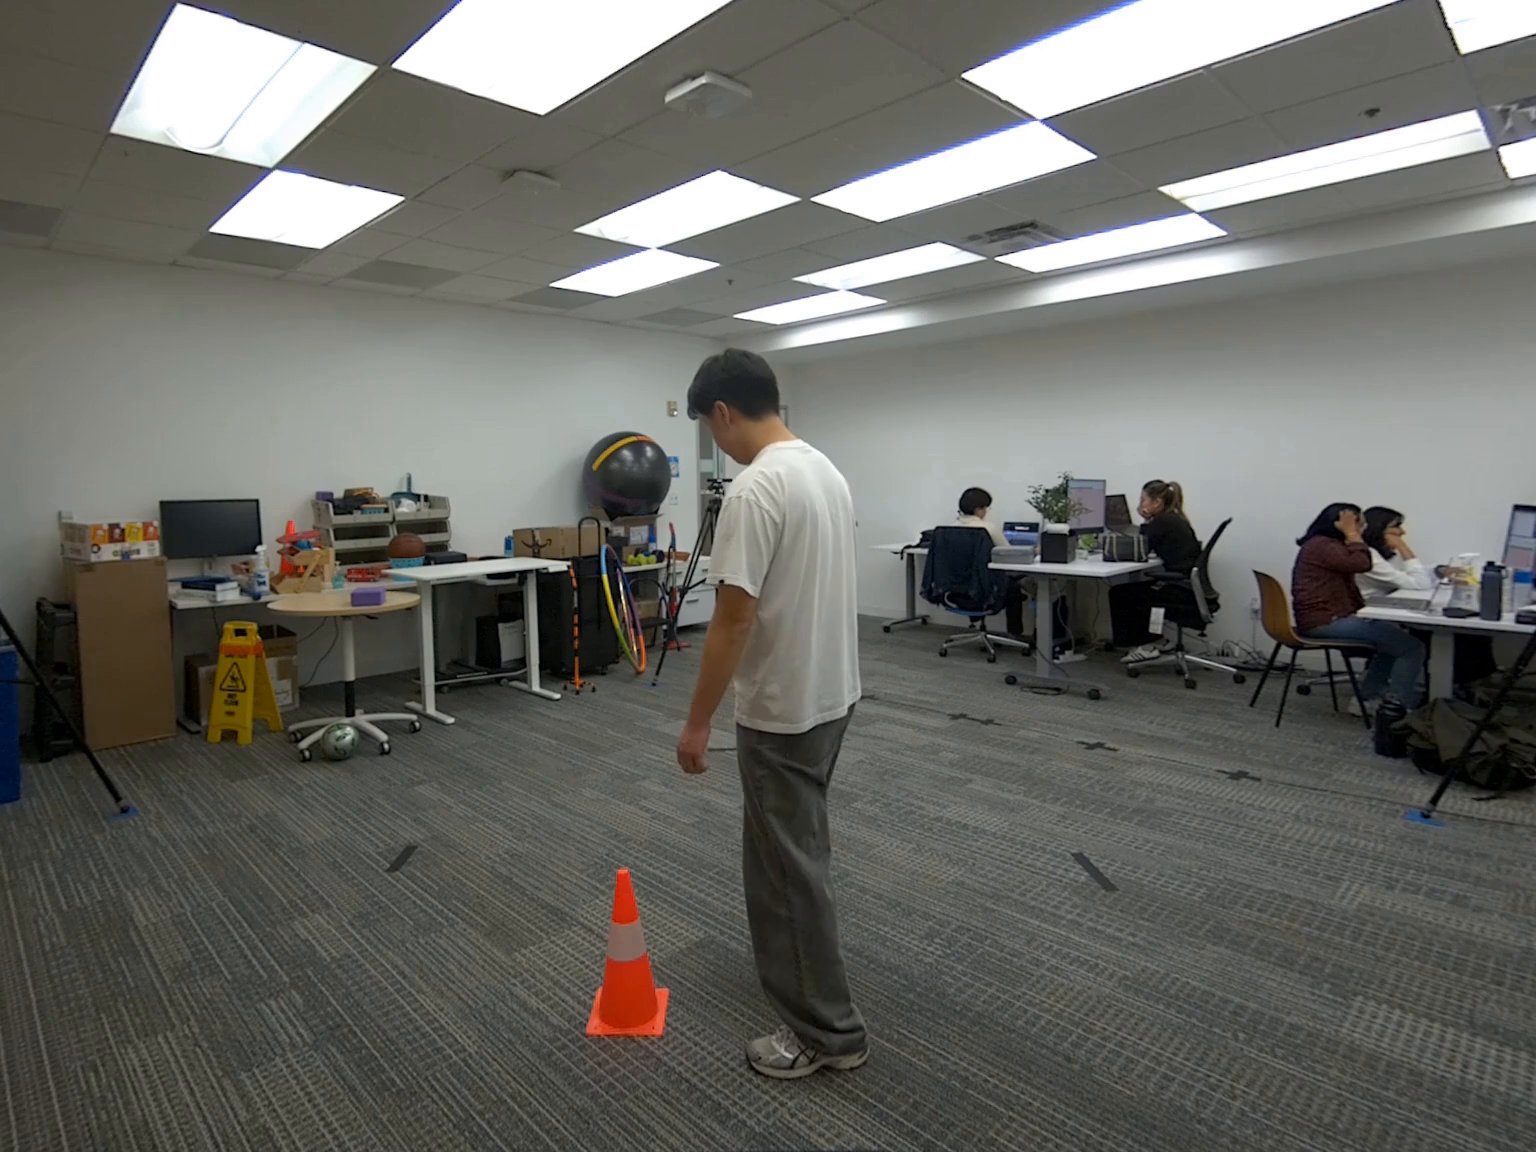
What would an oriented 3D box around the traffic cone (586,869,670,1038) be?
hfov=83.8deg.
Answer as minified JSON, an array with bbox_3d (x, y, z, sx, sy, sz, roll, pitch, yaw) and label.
[{"bbox_3d":[-0.368,0.974,2.239,0.203,0.382,0.206,-5,5,-4],"label":"traffic cone"}]
